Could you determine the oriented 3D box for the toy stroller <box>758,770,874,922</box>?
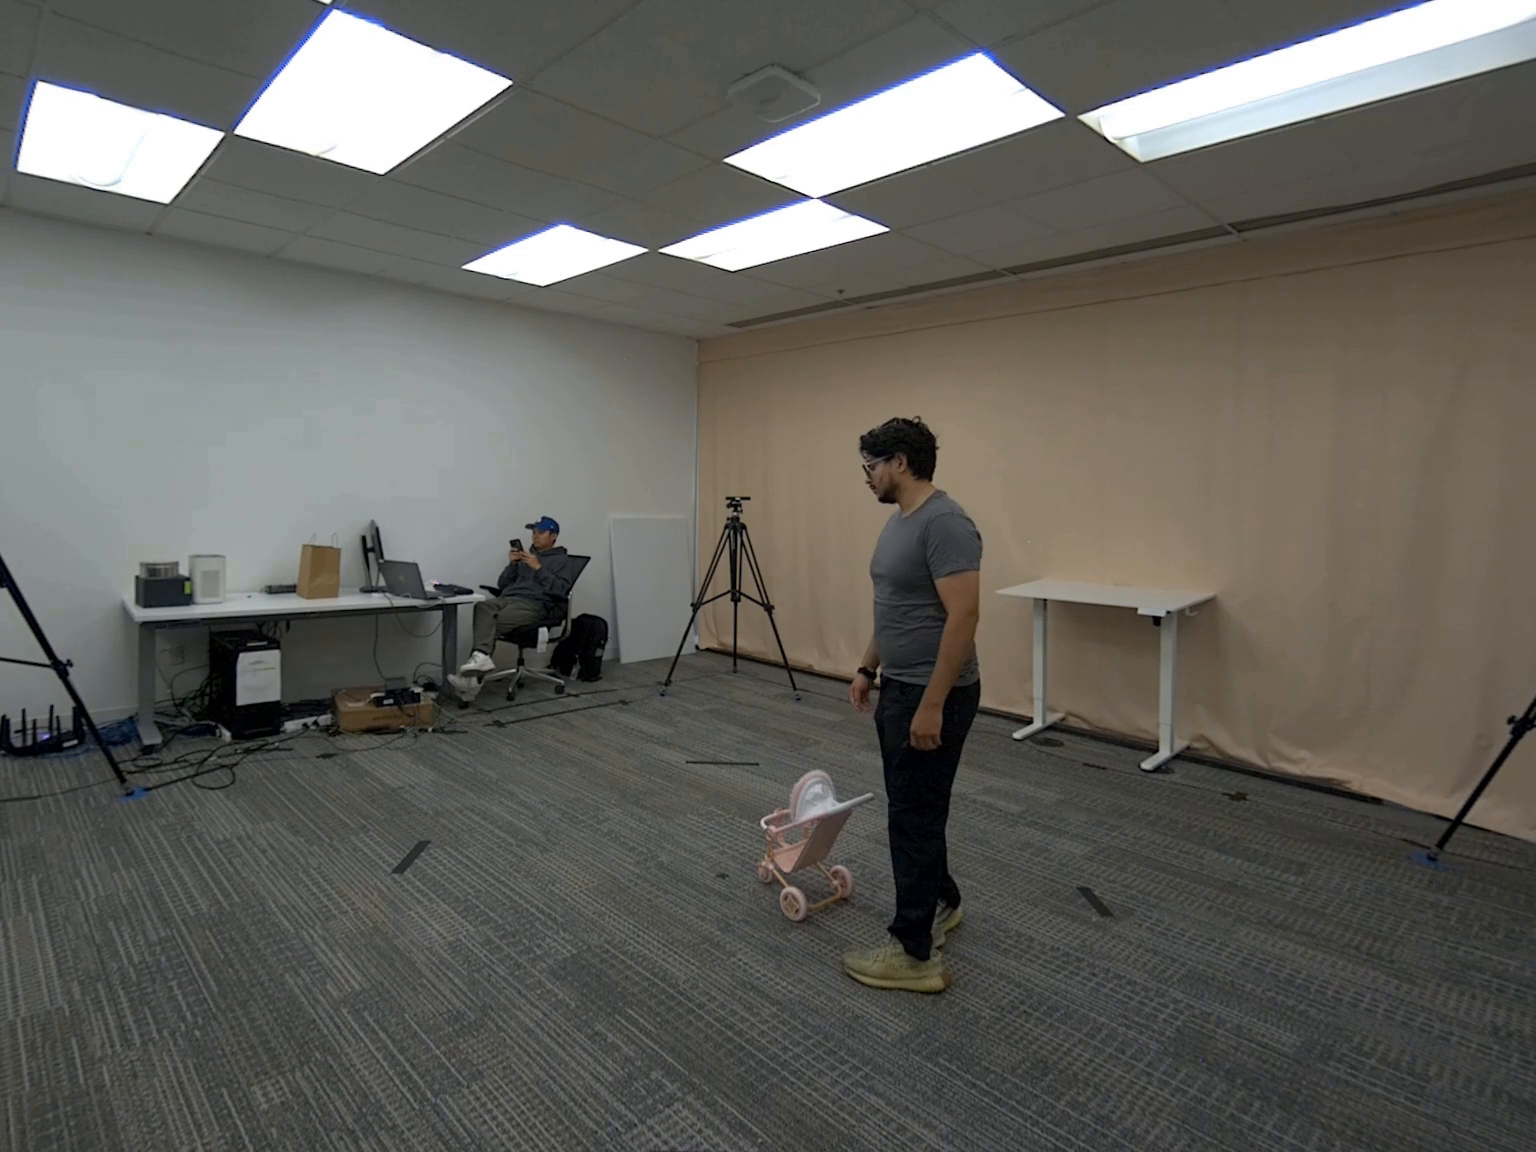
[{"bbox_3d":[0.130,0.906,2.906,0.275,0.530,0.352,-1,21,-40],"label":"toy stroller"}]
